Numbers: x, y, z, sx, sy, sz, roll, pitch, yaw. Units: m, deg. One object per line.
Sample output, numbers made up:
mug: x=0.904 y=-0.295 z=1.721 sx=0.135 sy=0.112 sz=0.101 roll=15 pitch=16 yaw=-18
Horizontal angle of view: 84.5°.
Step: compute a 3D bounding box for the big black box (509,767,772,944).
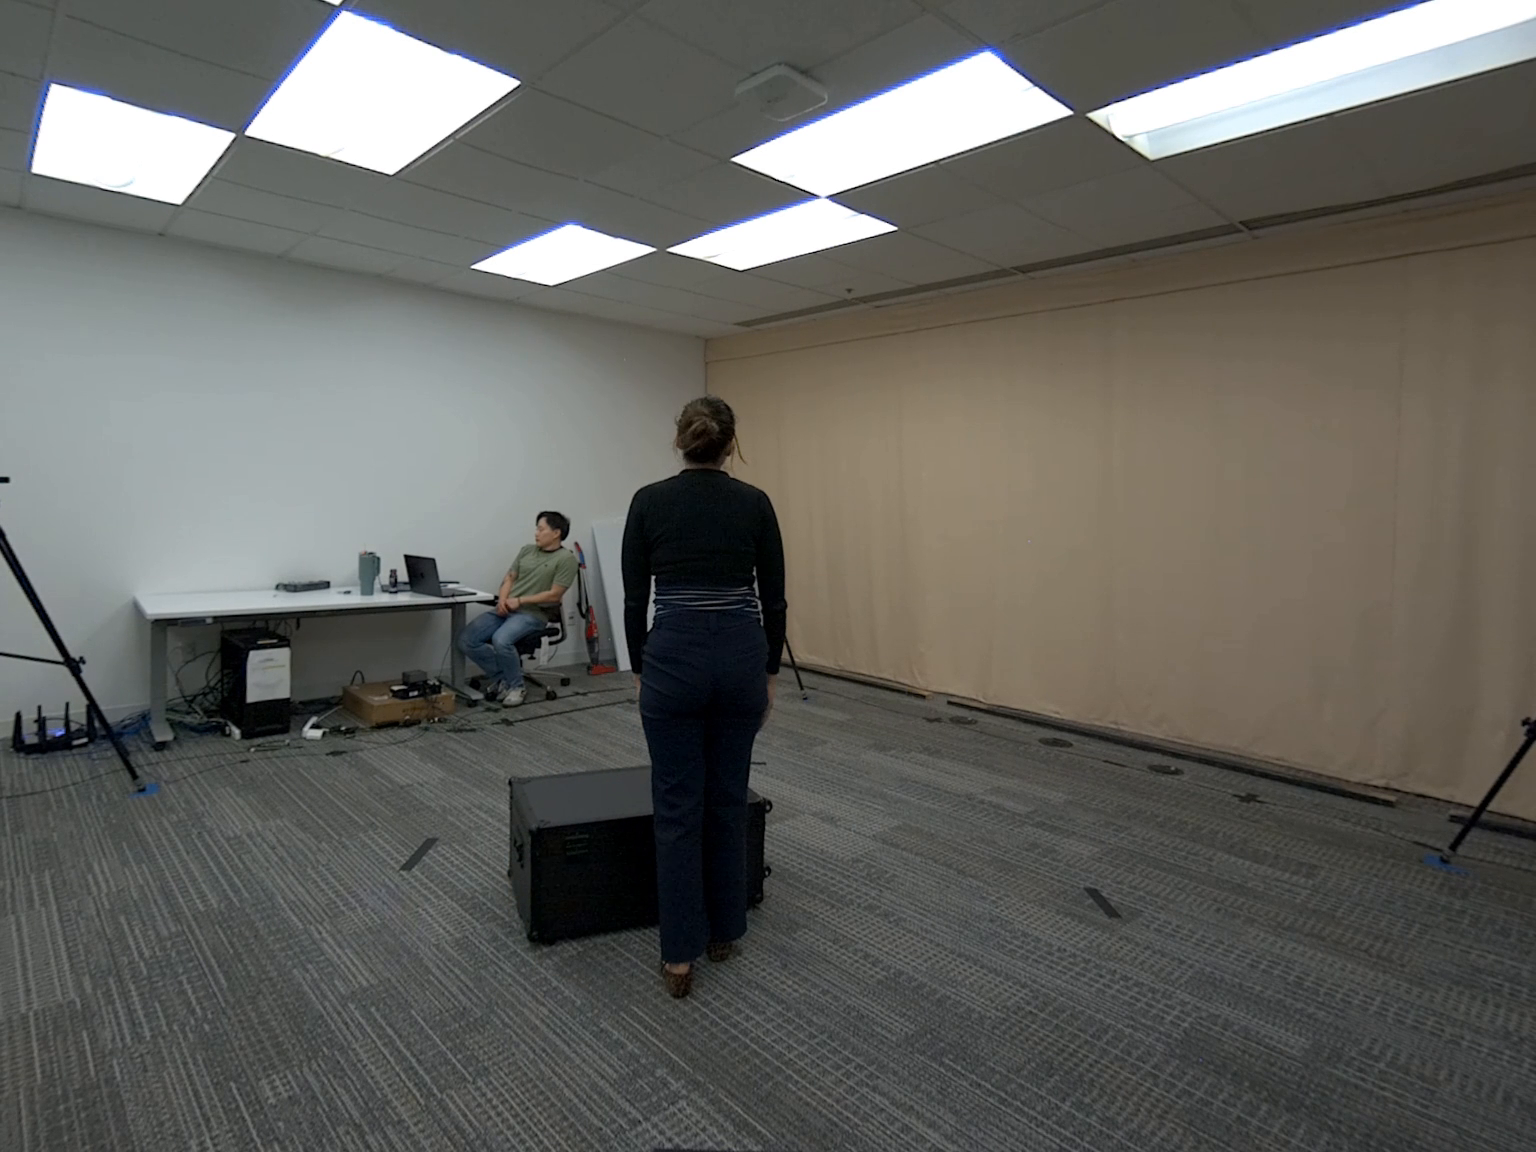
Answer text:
big black box: x=-0.491 y=0.925 z=2.903 sx=0.847 sy=0.395 sz=0.531 roll=0 pitch=5 yaw=-23
